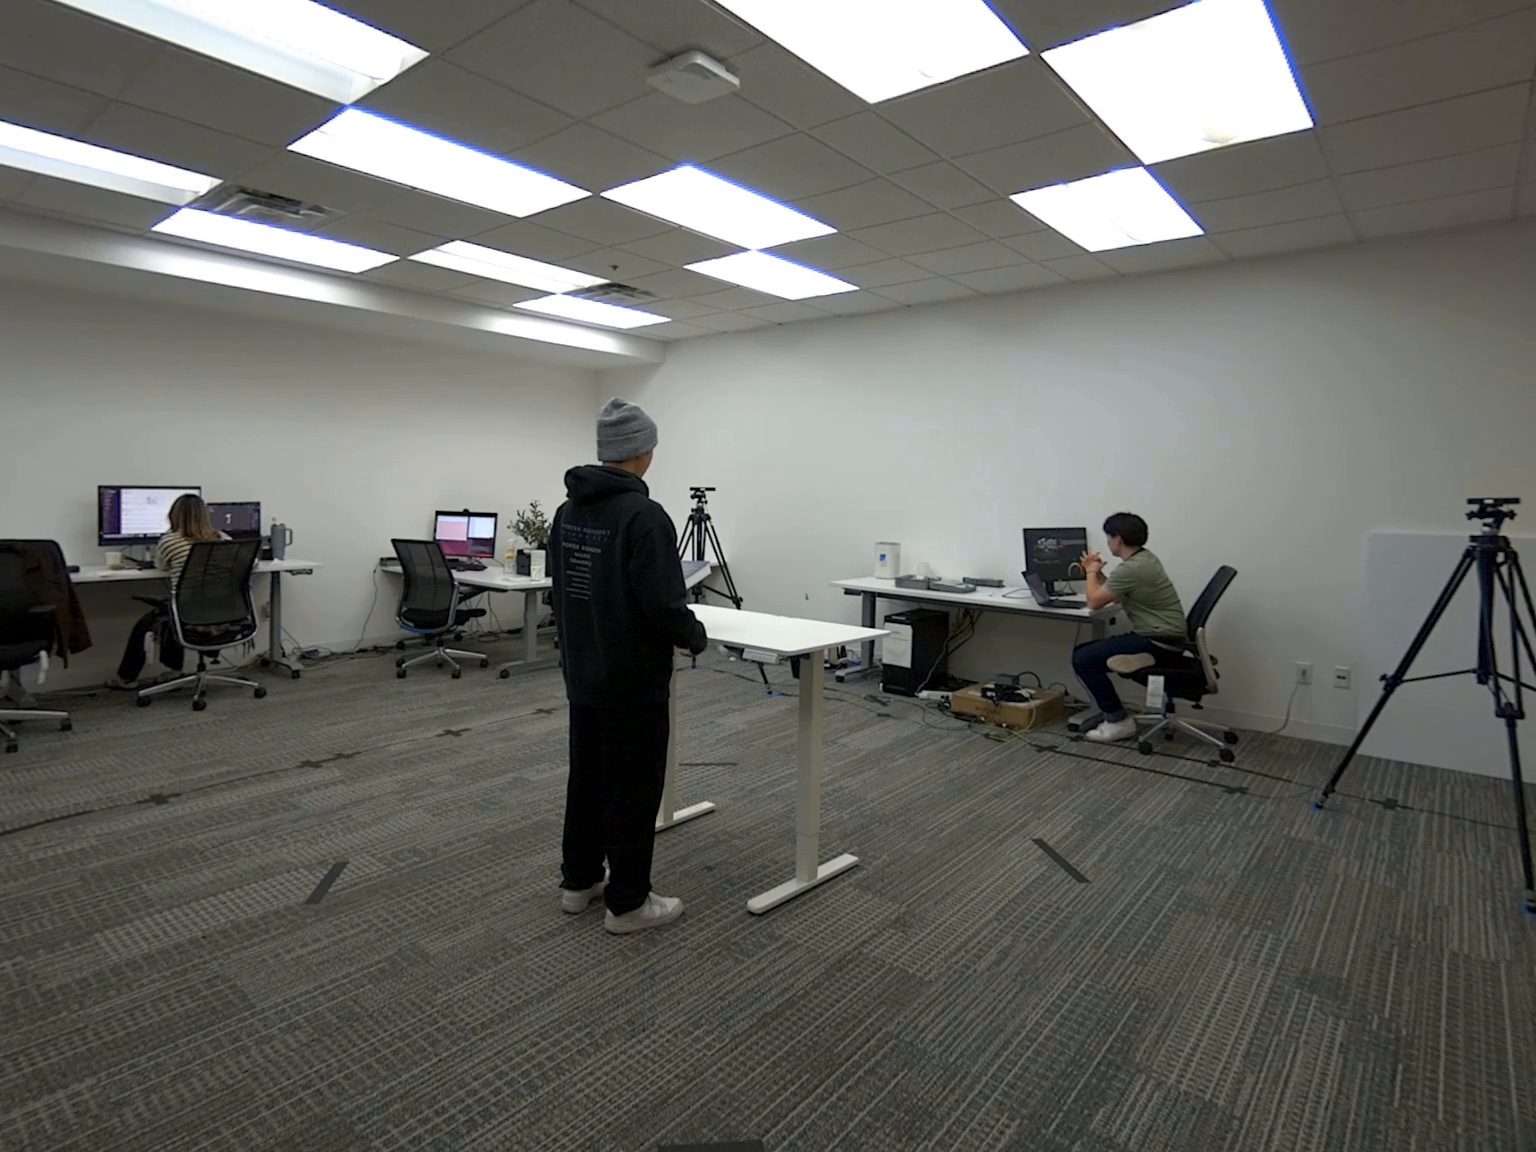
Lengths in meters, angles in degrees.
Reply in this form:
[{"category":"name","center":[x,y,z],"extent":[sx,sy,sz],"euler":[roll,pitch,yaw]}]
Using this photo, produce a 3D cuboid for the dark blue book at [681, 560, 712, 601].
[{"category":"dark blue book","center":[-0.333,0.009,3.113],"extent":[0.168,0.044,0.242],"euler":[3,24,33]}]
